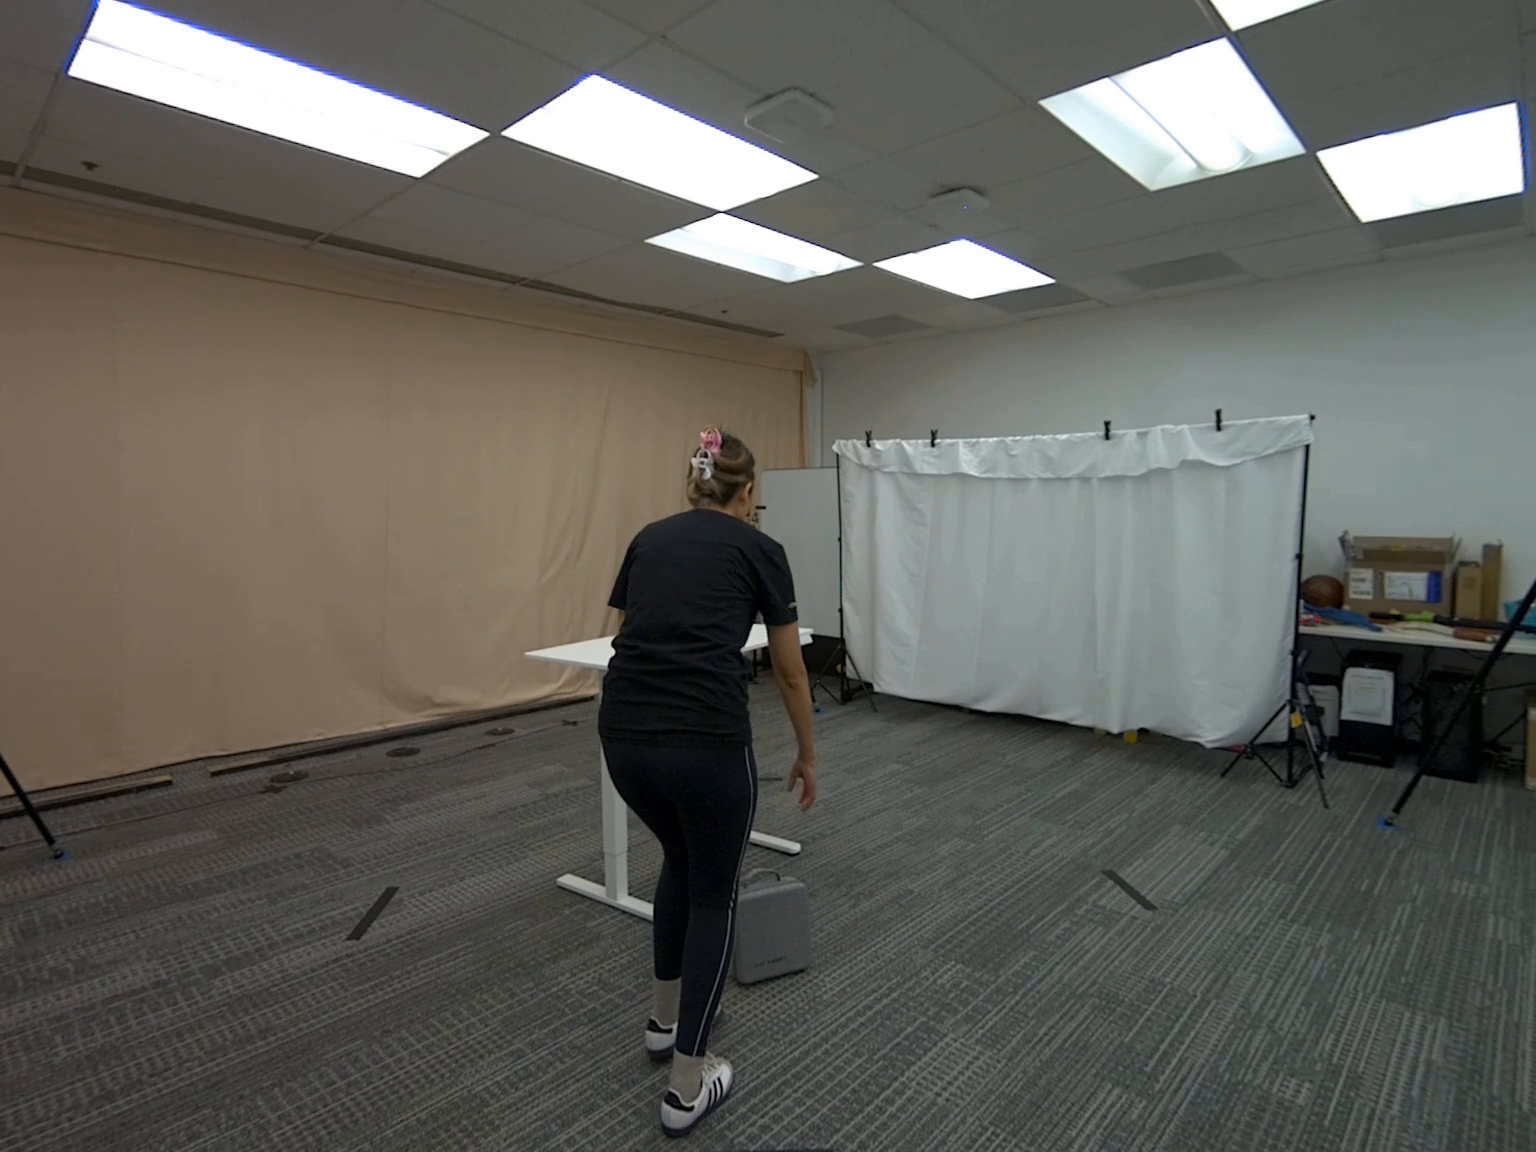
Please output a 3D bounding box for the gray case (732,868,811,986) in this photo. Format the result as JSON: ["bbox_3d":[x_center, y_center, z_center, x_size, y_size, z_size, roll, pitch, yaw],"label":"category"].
[{"bbox_3d":[0.006,1.045,2.515,0.251,0.261,0.106,-1,-5,-24],"label":"gray case"}]
